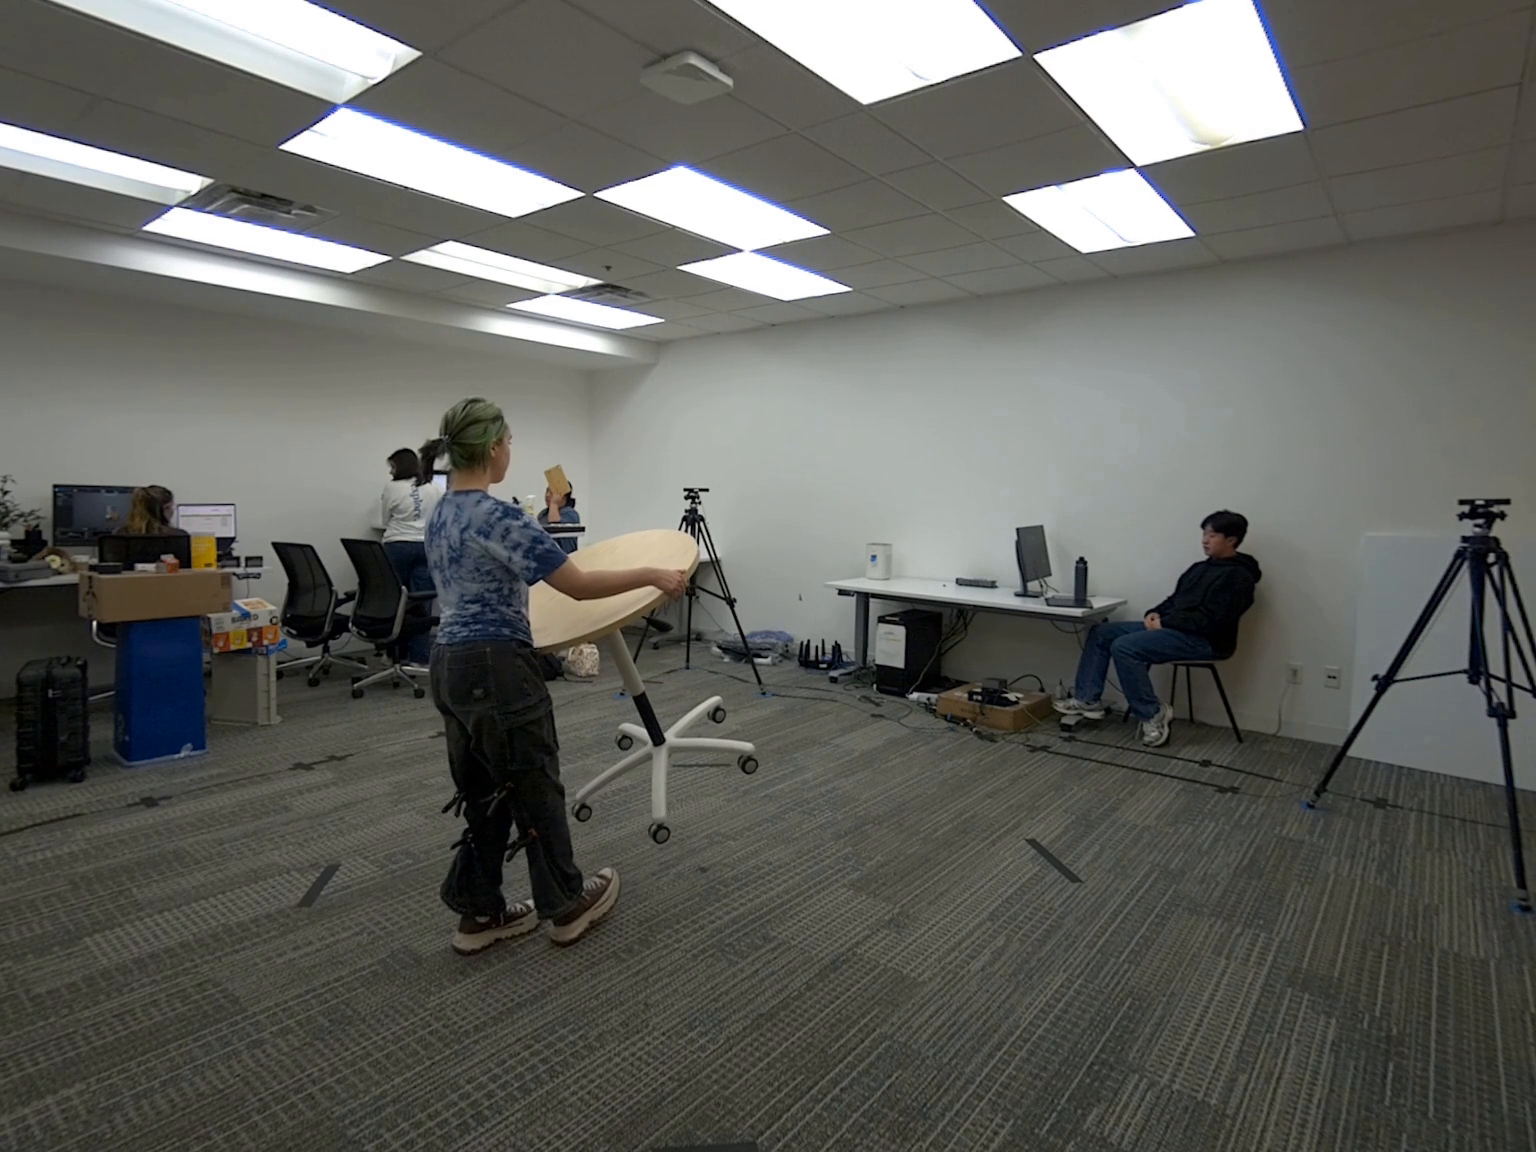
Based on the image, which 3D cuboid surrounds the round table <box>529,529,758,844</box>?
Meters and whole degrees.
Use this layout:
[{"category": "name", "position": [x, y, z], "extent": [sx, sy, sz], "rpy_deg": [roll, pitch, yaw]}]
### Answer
[{"category": "round table", "position": [-0.481, 0.375, 2.969], "extent": [0.767, 0.774, 0.780], "rpy_deg": [-18, 22, 5]}]
